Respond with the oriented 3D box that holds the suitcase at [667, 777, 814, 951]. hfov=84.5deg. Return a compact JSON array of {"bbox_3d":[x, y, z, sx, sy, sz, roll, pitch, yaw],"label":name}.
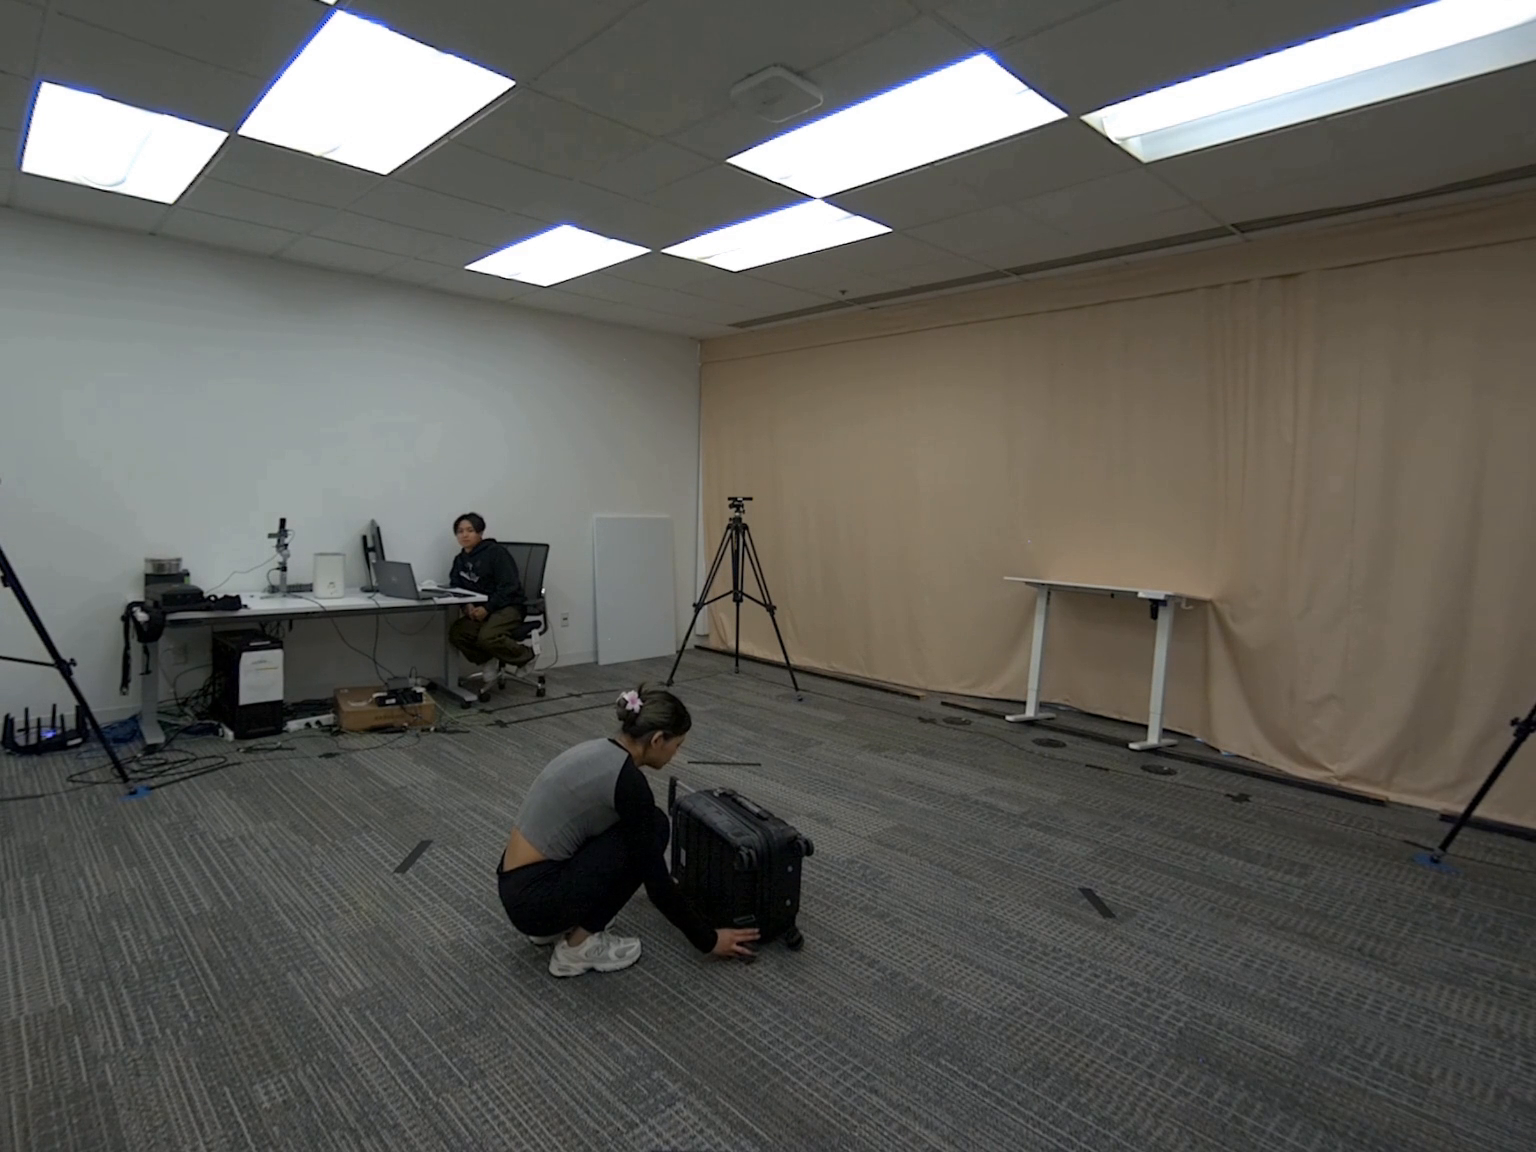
[{"bbox_3d":[-0.228,0.927,2.966,0.251,0.383,1.002,2,4,-32],"label":"suitcase"}]
